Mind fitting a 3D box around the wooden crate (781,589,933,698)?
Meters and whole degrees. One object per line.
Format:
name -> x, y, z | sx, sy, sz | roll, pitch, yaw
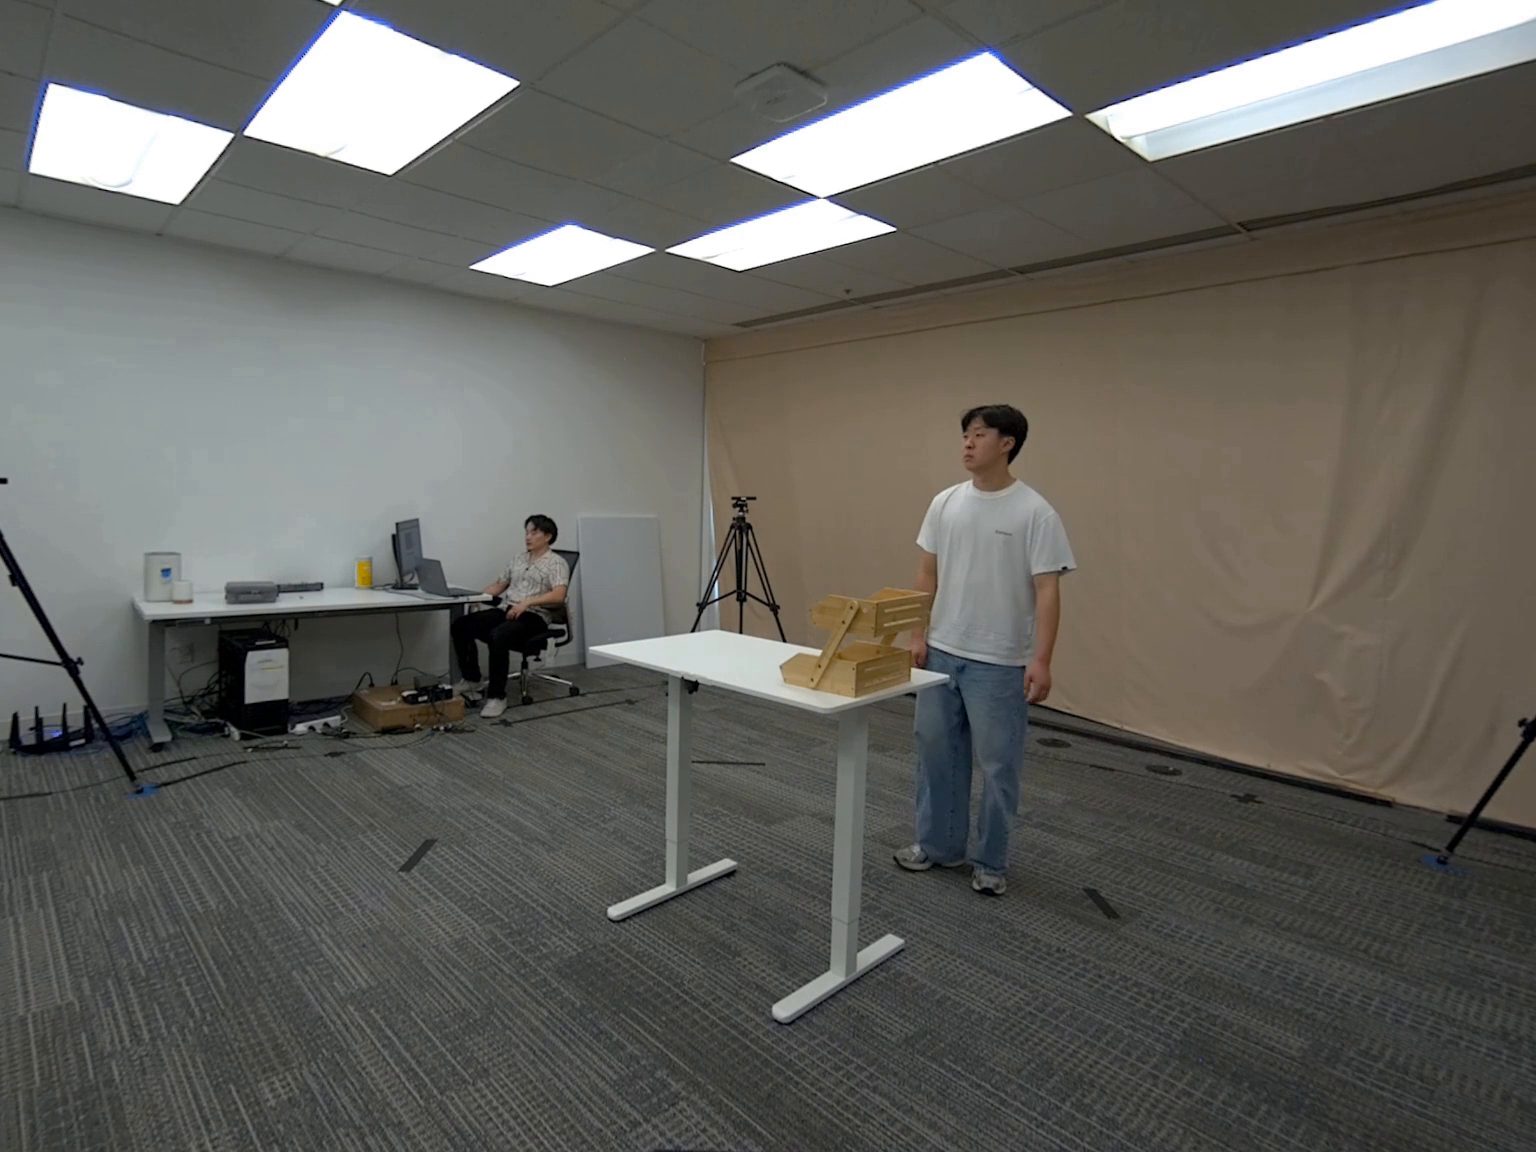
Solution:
wooden crate -> 0.242, 0.172, 2.365 | 0.310, 0.272, 0.317 | 6, 7, 38
